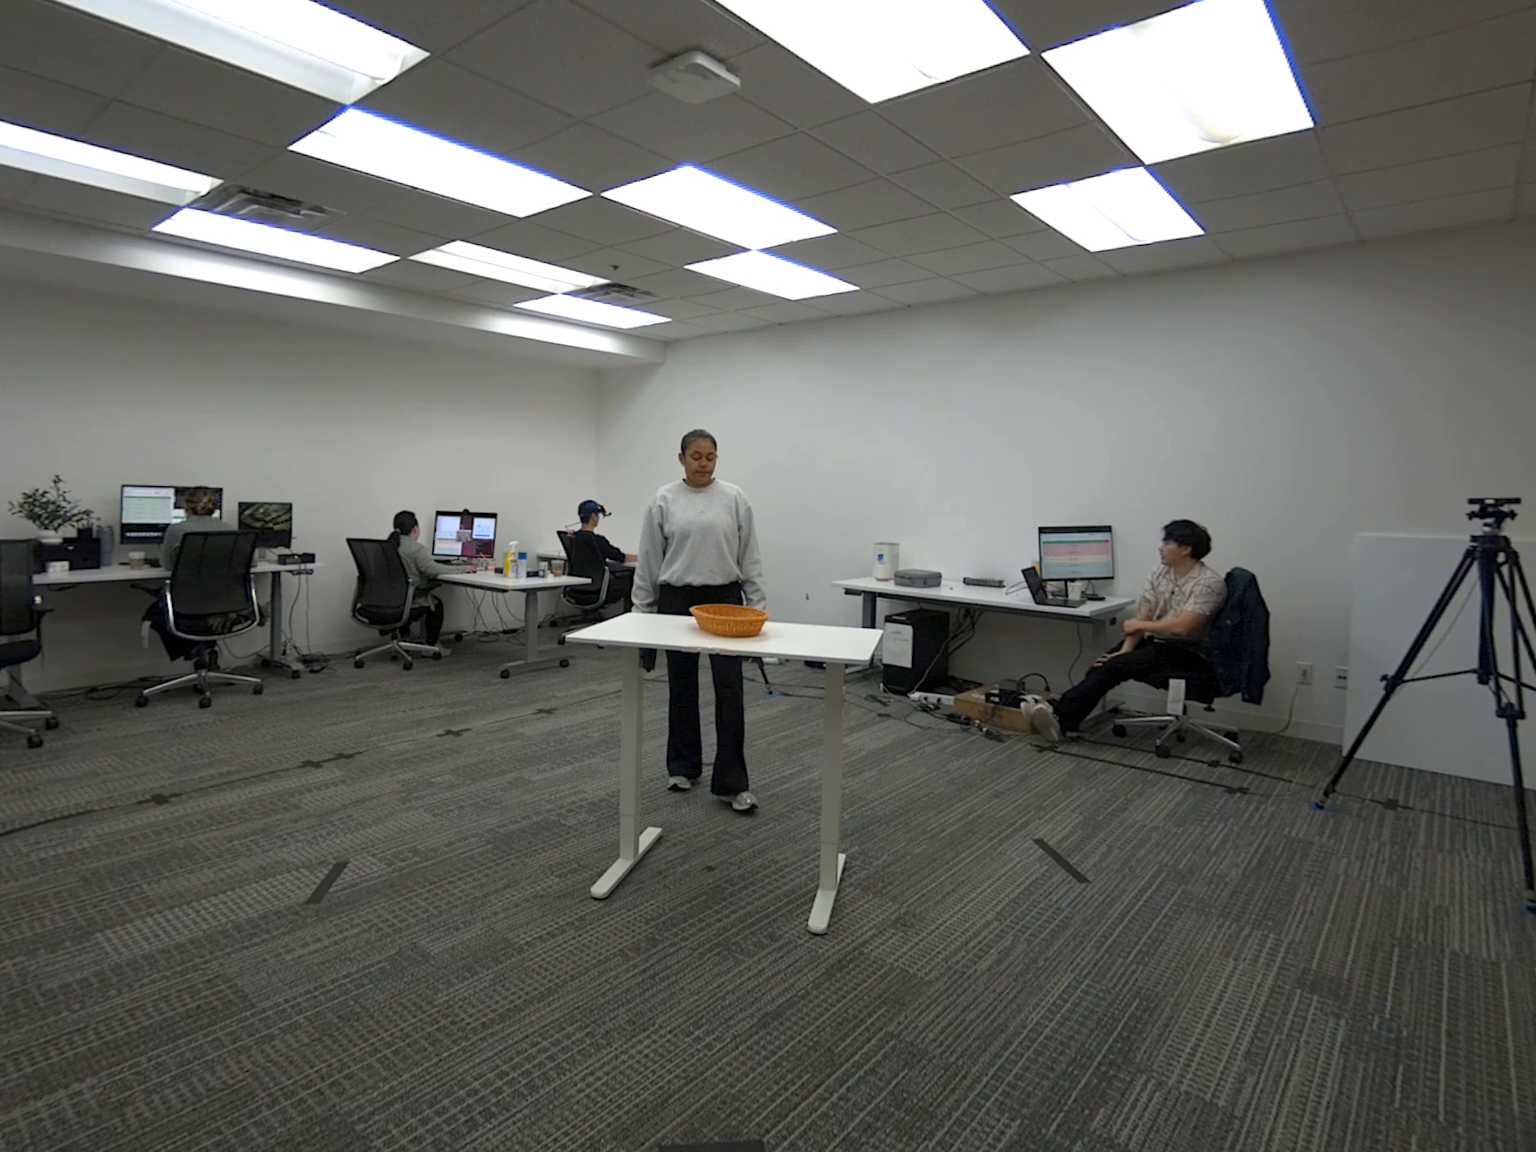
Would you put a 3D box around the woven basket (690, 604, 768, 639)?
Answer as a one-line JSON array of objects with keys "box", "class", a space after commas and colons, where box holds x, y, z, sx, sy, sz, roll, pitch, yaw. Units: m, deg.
[{"box": [-0.148, 0.161, 3.043, 0.247, 0.073, 0.360, -3, 7, -25], "class": "woven basket"}]
